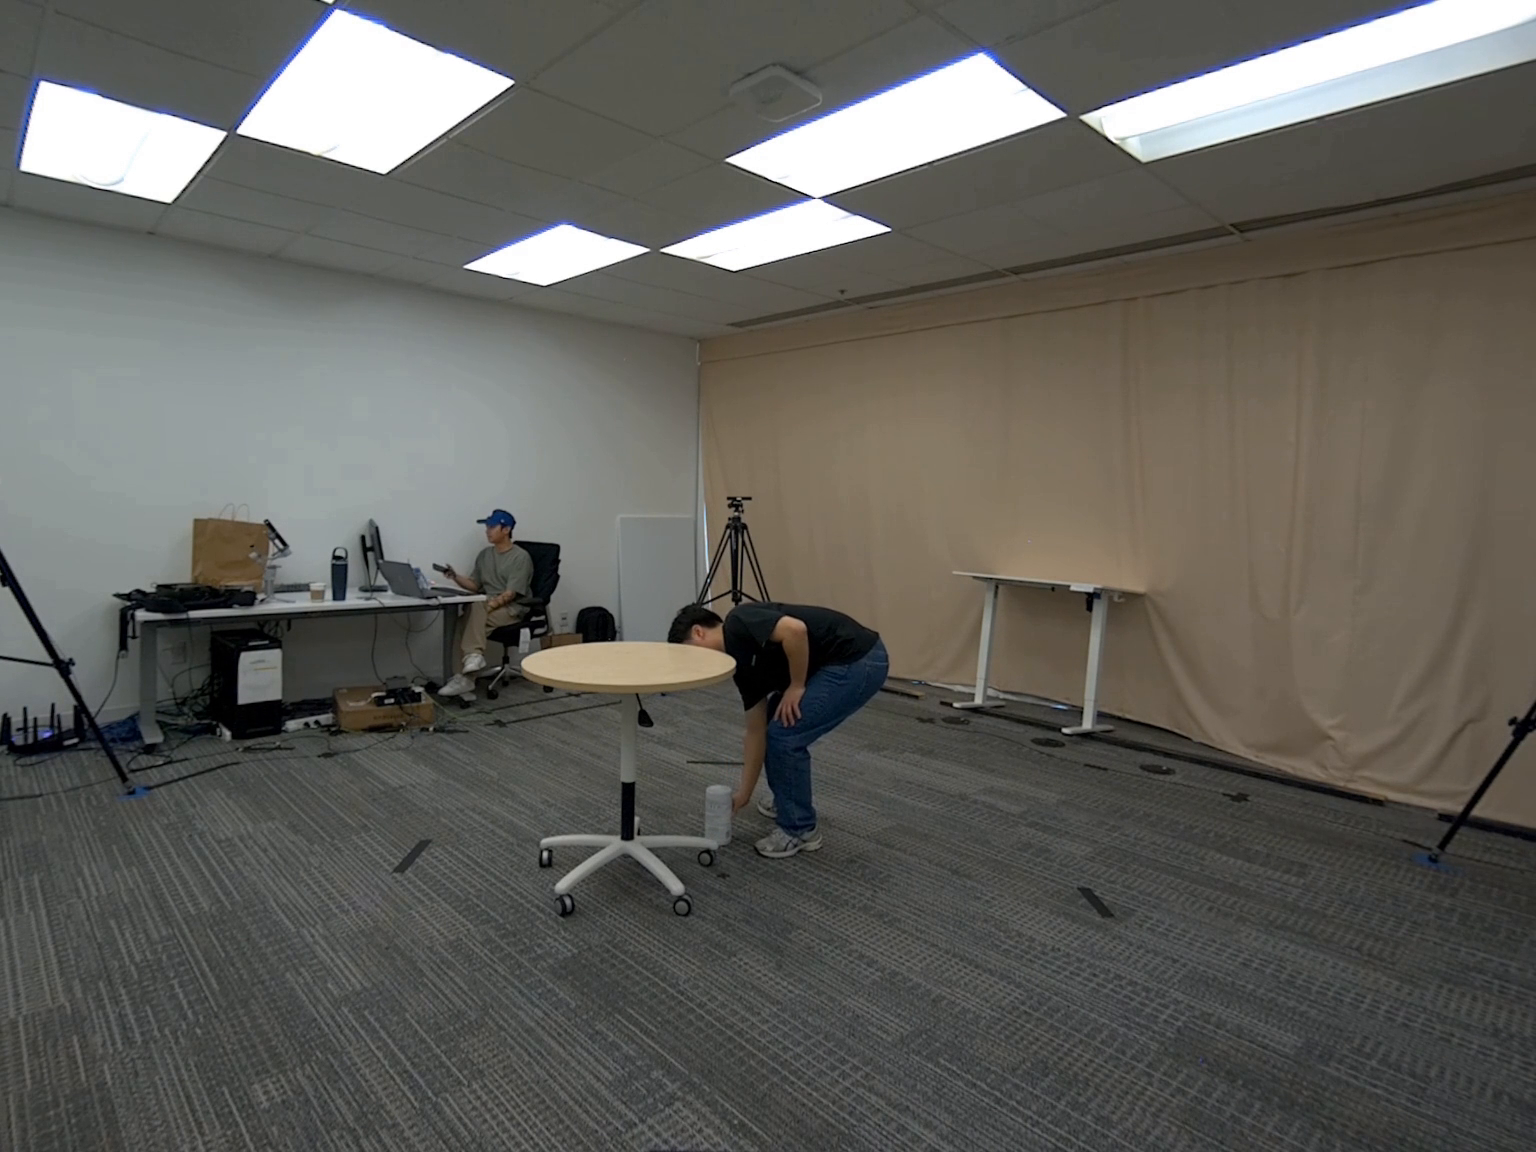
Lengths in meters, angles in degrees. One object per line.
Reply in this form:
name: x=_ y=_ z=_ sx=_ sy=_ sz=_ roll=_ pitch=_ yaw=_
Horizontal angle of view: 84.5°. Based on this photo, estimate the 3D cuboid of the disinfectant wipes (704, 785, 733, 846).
disinfectant wipes: x=-0.198 y=0.974 z=3.420 sx=0.118 sy=0.217 sz=0.118 roll=0 pitch=2 yaw=-1
